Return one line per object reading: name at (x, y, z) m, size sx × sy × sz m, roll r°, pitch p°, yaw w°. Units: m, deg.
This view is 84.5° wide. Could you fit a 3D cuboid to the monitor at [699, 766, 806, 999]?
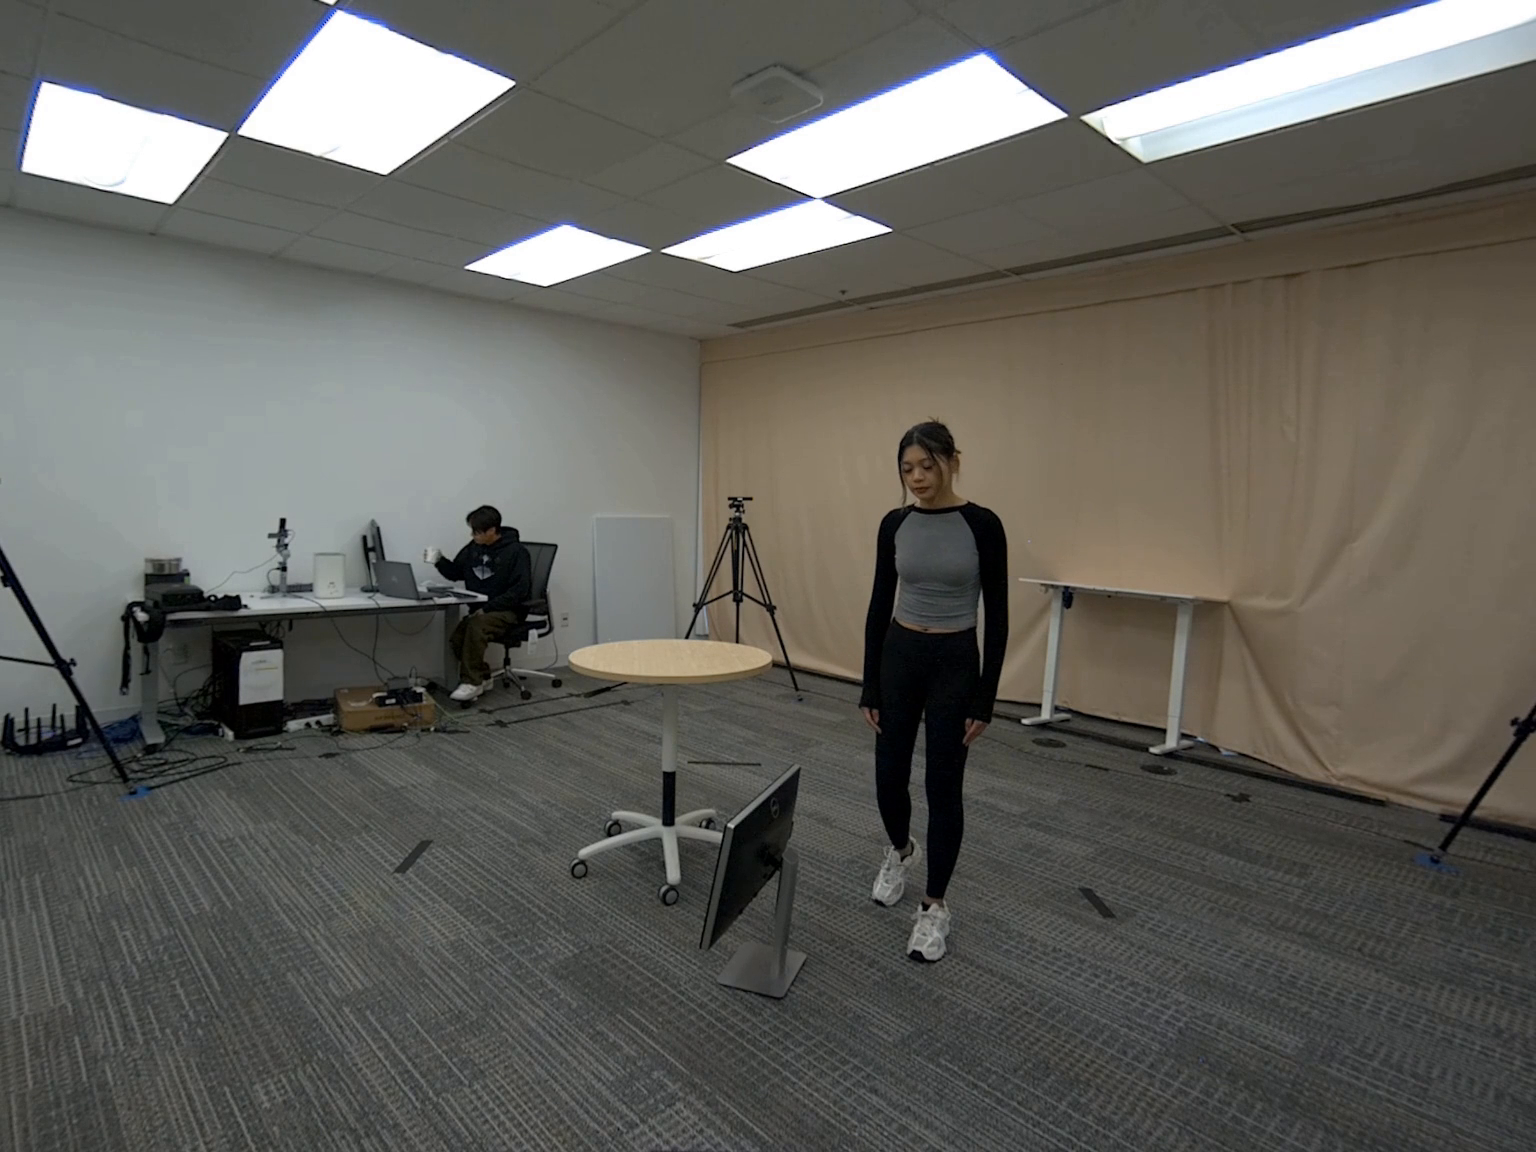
monitor at (-0.011, 0.904, 2.462) m, size 0.190 × 0.521 × 0.532 m, roll 1°, pitch 5°, yaw 20°
